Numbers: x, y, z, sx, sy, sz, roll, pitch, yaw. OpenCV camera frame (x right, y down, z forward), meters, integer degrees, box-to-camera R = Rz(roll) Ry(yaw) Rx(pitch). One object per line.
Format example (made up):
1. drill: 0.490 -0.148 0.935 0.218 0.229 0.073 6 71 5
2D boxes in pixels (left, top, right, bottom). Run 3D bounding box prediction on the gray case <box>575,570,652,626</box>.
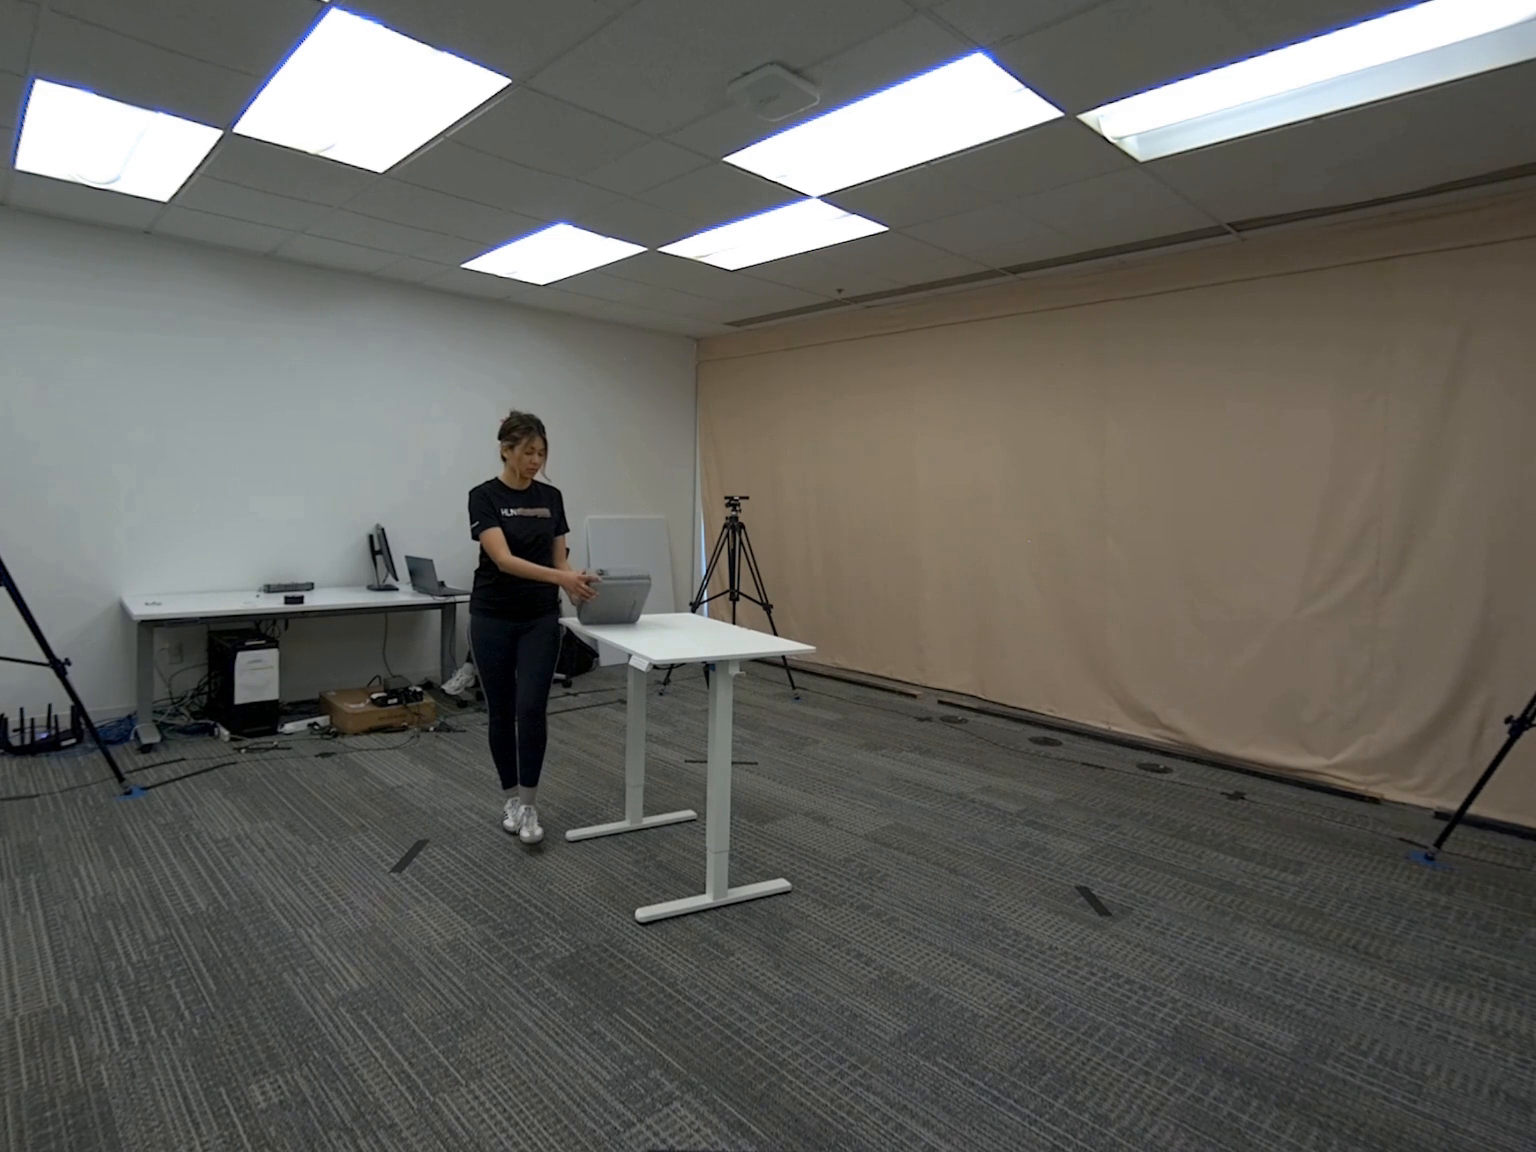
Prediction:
1. gray case: -0.616 0.074 3.269 0.257 0.253 0.107 -5 46 -21
